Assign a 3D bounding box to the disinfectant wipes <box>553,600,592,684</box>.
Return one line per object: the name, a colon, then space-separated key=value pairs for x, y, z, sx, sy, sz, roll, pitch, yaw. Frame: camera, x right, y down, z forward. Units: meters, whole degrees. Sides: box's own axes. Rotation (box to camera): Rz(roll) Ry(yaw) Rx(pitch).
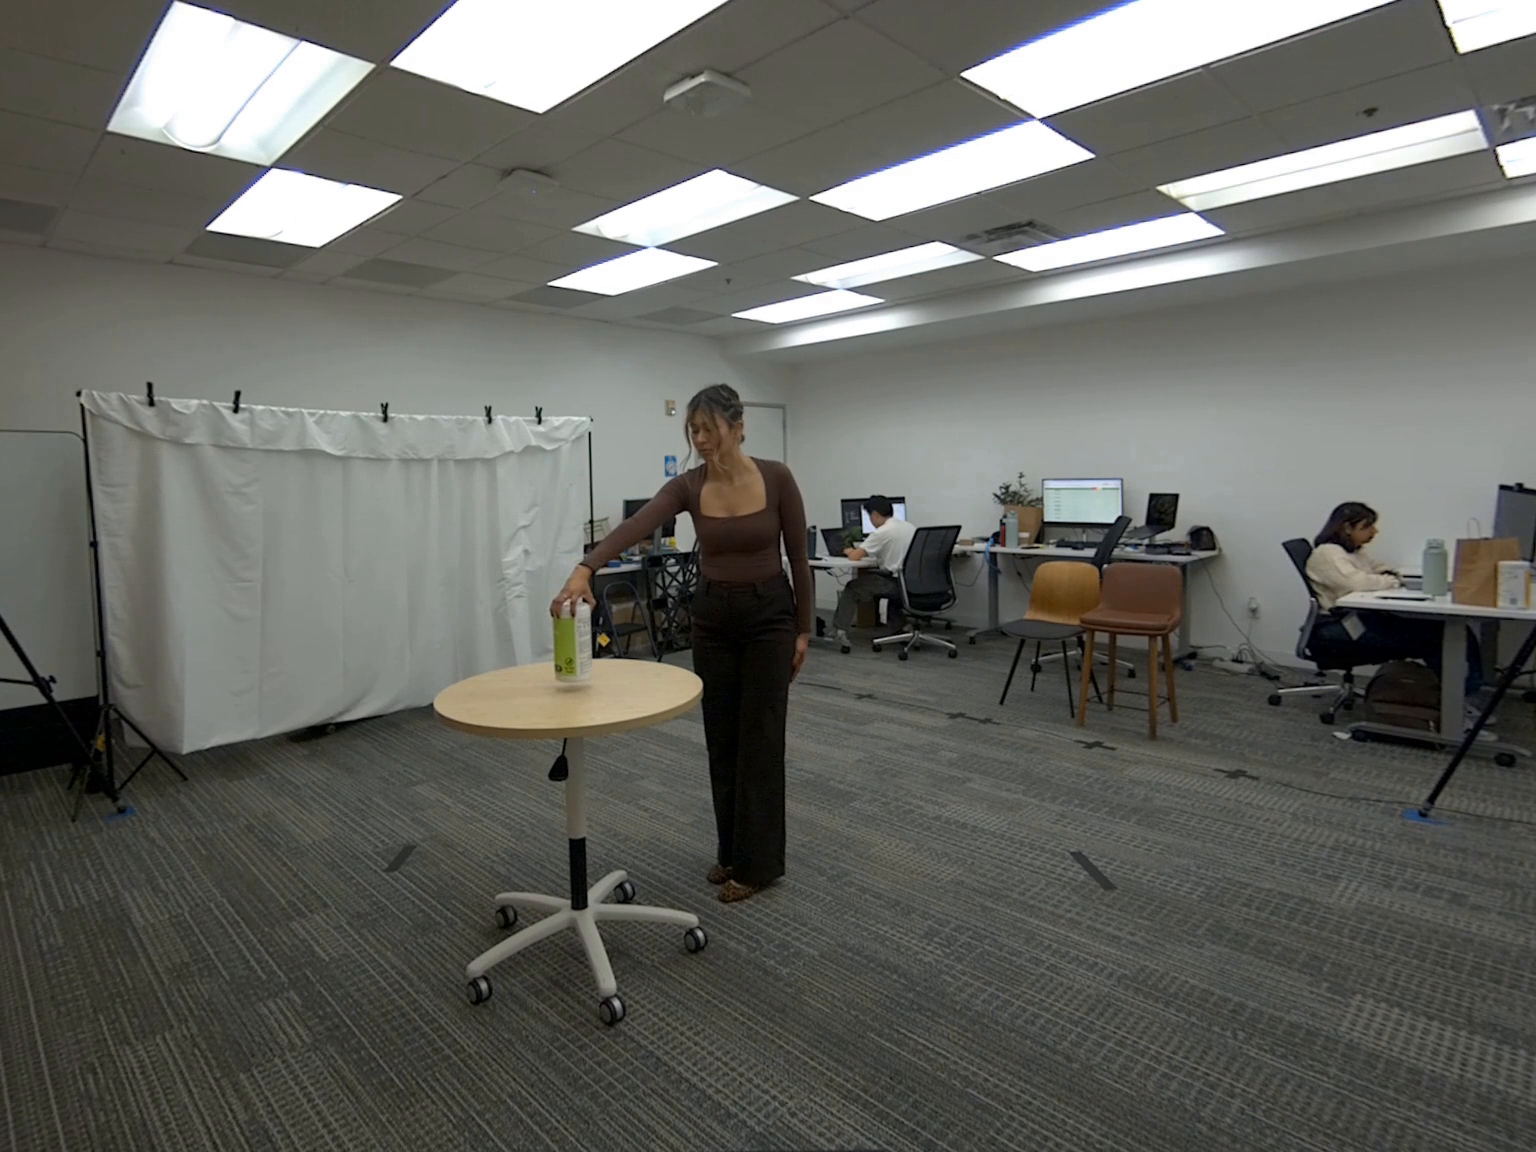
disinfectant wipes: x=-0.566 y=0.192 z=2.470 sx=0.118 sy=0.216 sz=0.118 roll=0 pitch=4 yaw=-2
